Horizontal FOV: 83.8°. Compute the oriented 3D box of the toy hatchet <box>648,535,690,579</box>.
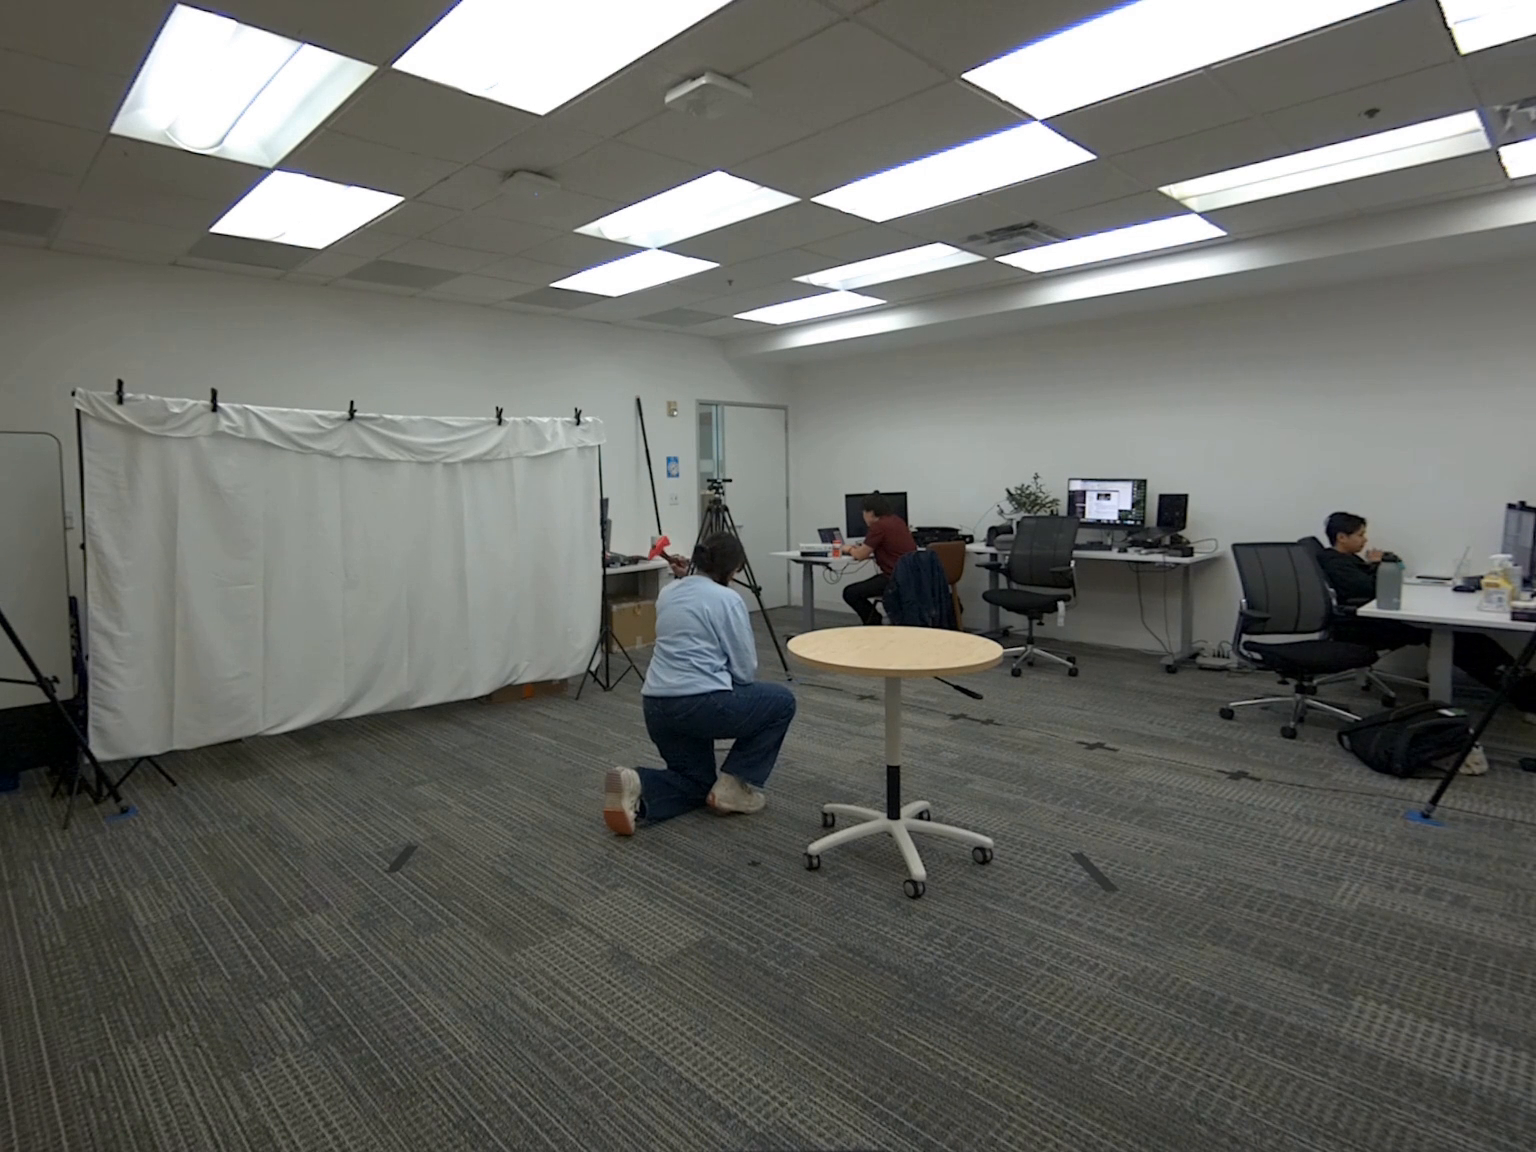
[{"bbox_3d":[-0.418,-0.047,3.730,0.029,0.265,0.135,-26,18,-21],"label":"toy hatchet"}]
